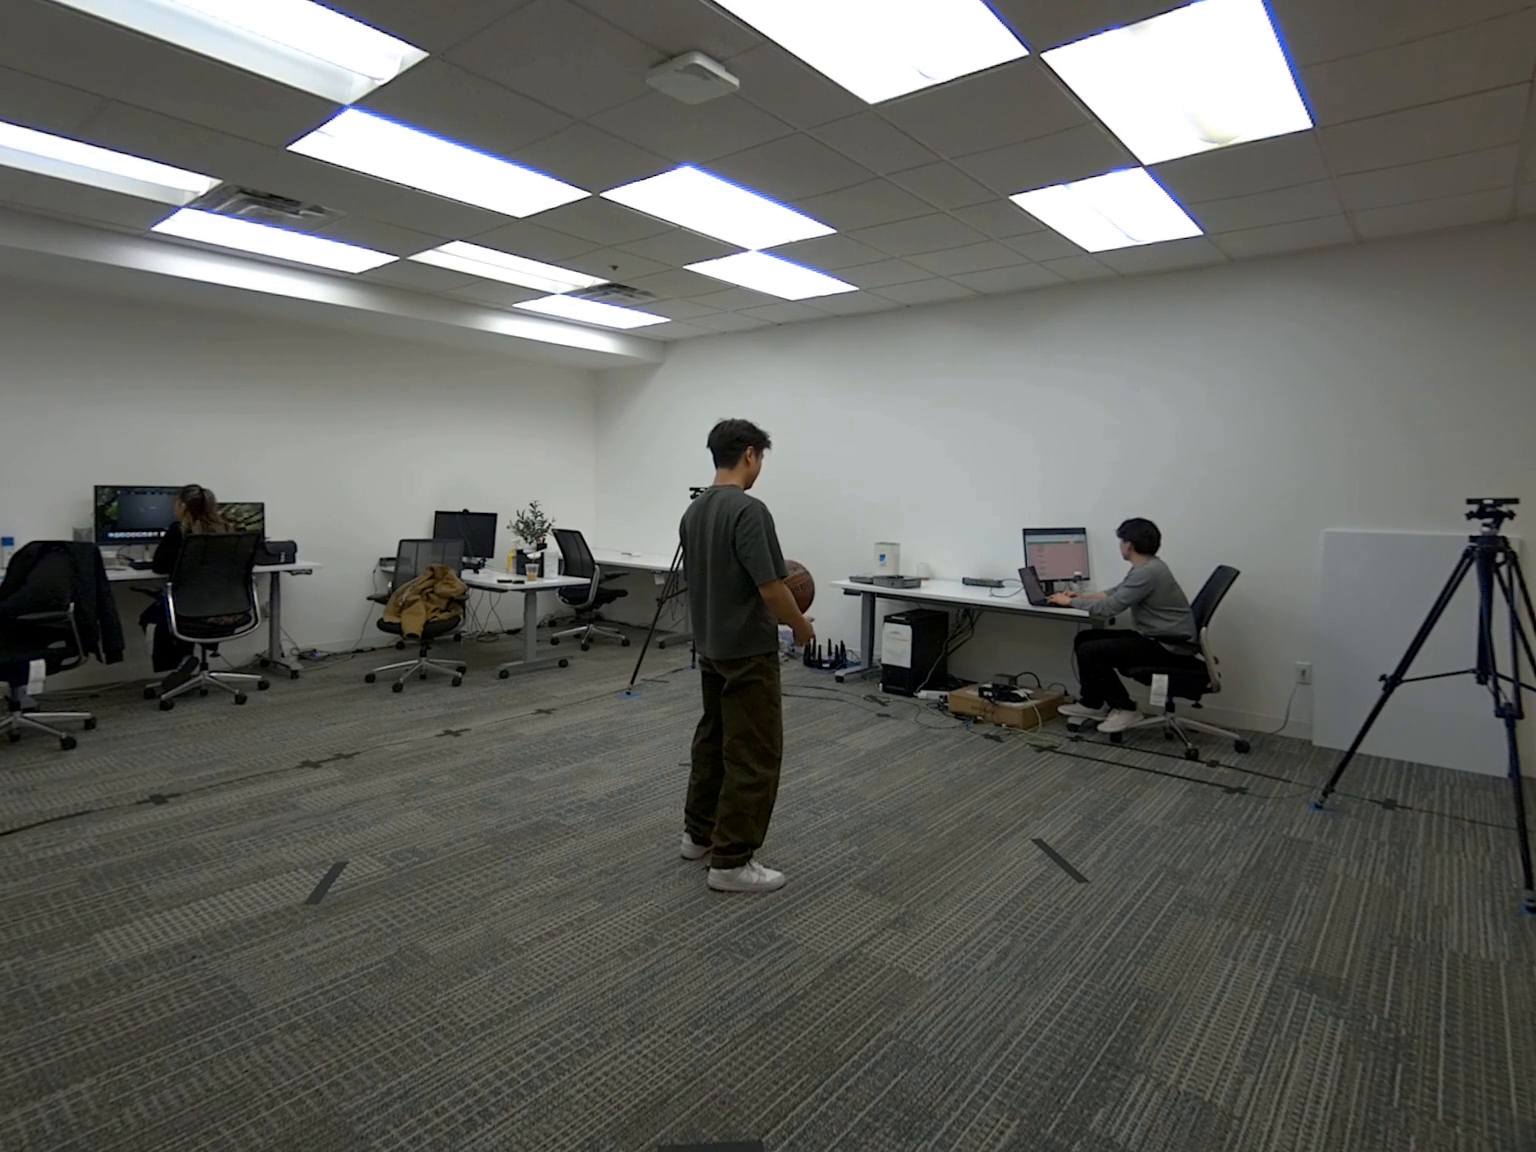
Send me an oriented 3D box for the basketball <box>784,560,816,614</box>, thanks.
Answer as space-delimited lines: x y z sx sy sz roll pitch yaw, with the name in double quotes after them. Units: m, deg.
0.049 0.058 3.330 0.235 0.235 0.237 1 4 -2 "basketball"
